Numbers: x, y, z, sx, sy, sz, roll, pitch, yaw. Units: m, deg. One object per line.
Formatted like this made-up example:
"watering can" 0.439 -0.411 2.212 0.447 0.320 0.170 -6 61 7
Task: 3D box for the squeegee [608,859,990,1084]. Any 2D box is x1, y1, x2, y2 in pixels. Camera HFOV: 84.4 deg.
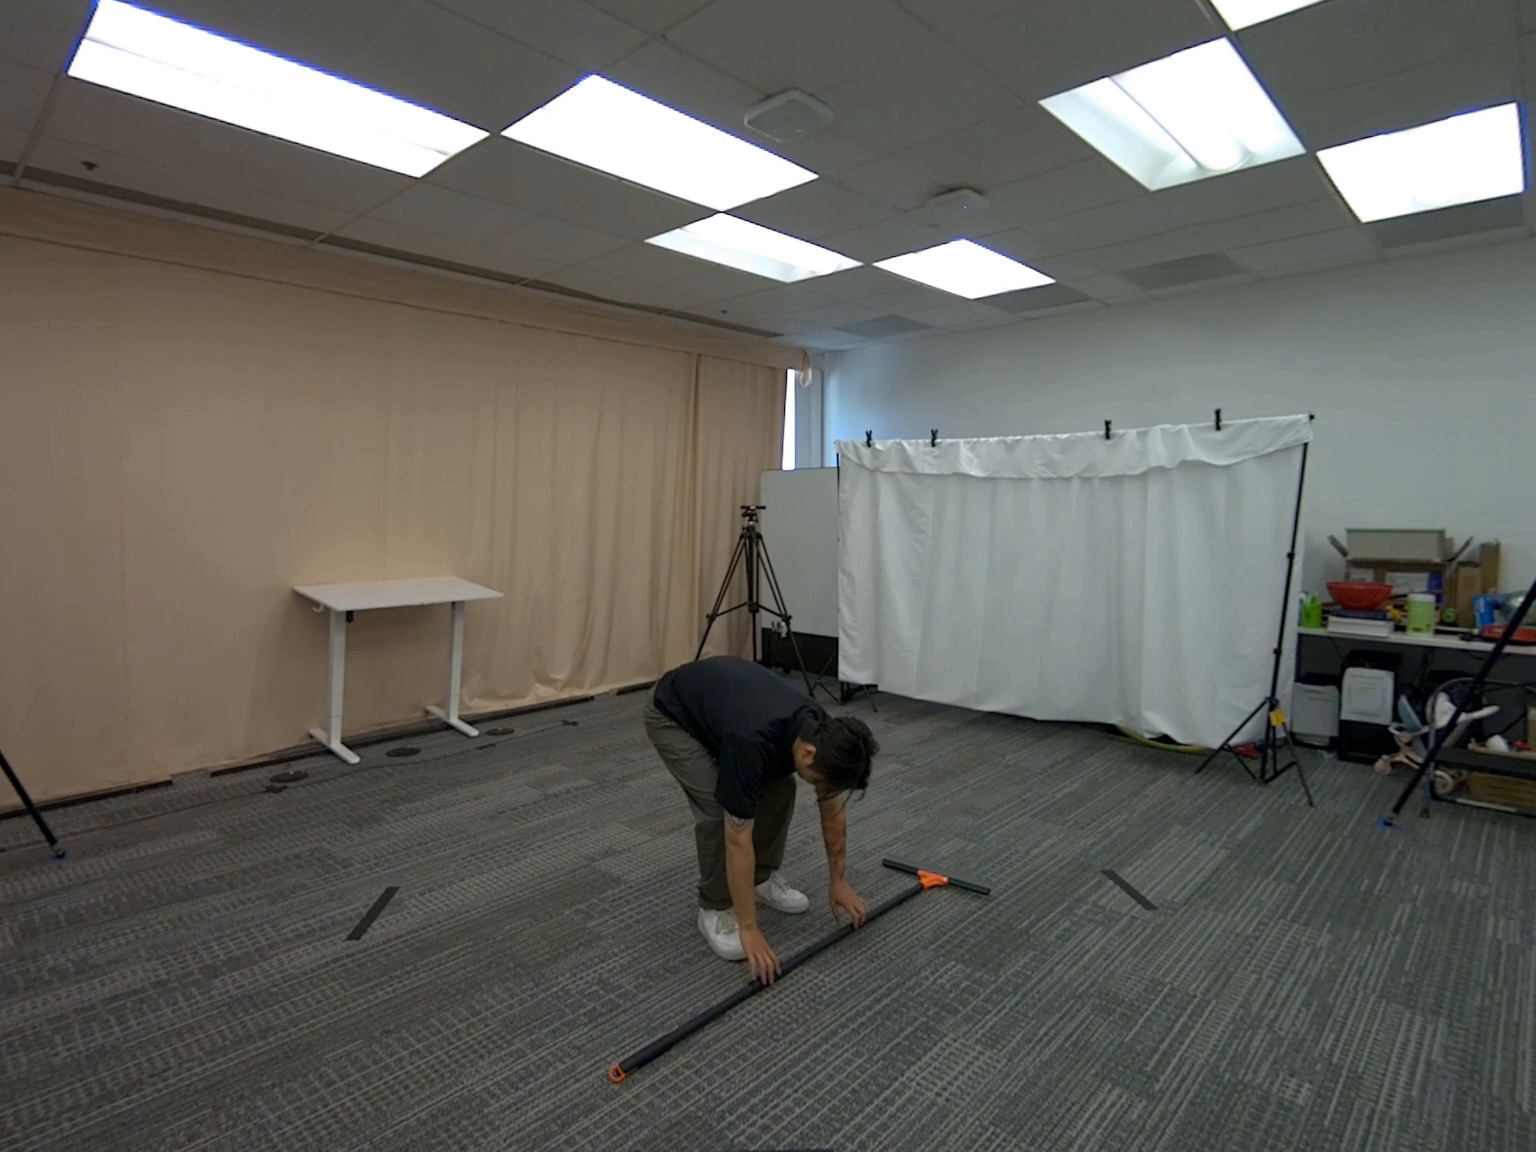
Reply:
"squeegee" 0.131 1.139 2.584 0.452 0.053 1.491 2 6 43
